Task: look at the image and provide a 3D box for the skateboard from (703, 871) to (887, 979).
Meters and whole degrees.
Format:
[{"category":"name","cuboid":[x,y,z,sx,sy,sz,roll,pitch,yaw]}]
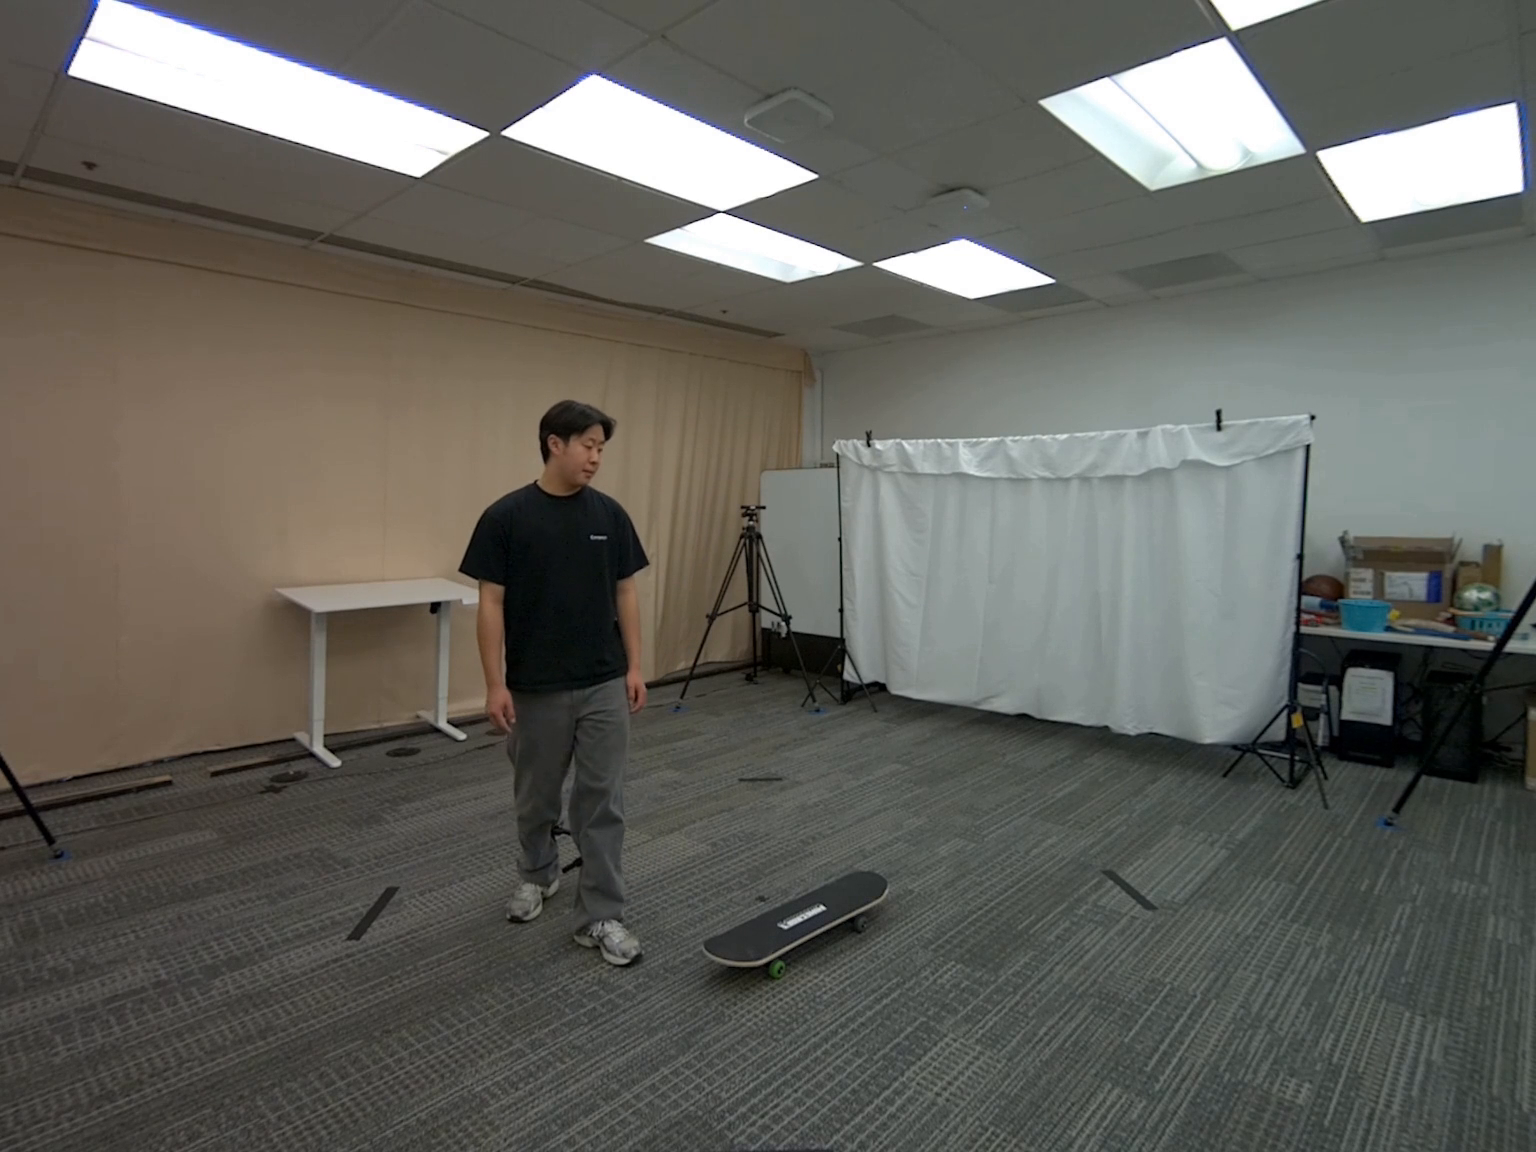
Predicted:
[{"category":"skateboard","cuboid":[0.109,1.116,2.670,0.761,0.110,0.200,-4,5,-44]}]
